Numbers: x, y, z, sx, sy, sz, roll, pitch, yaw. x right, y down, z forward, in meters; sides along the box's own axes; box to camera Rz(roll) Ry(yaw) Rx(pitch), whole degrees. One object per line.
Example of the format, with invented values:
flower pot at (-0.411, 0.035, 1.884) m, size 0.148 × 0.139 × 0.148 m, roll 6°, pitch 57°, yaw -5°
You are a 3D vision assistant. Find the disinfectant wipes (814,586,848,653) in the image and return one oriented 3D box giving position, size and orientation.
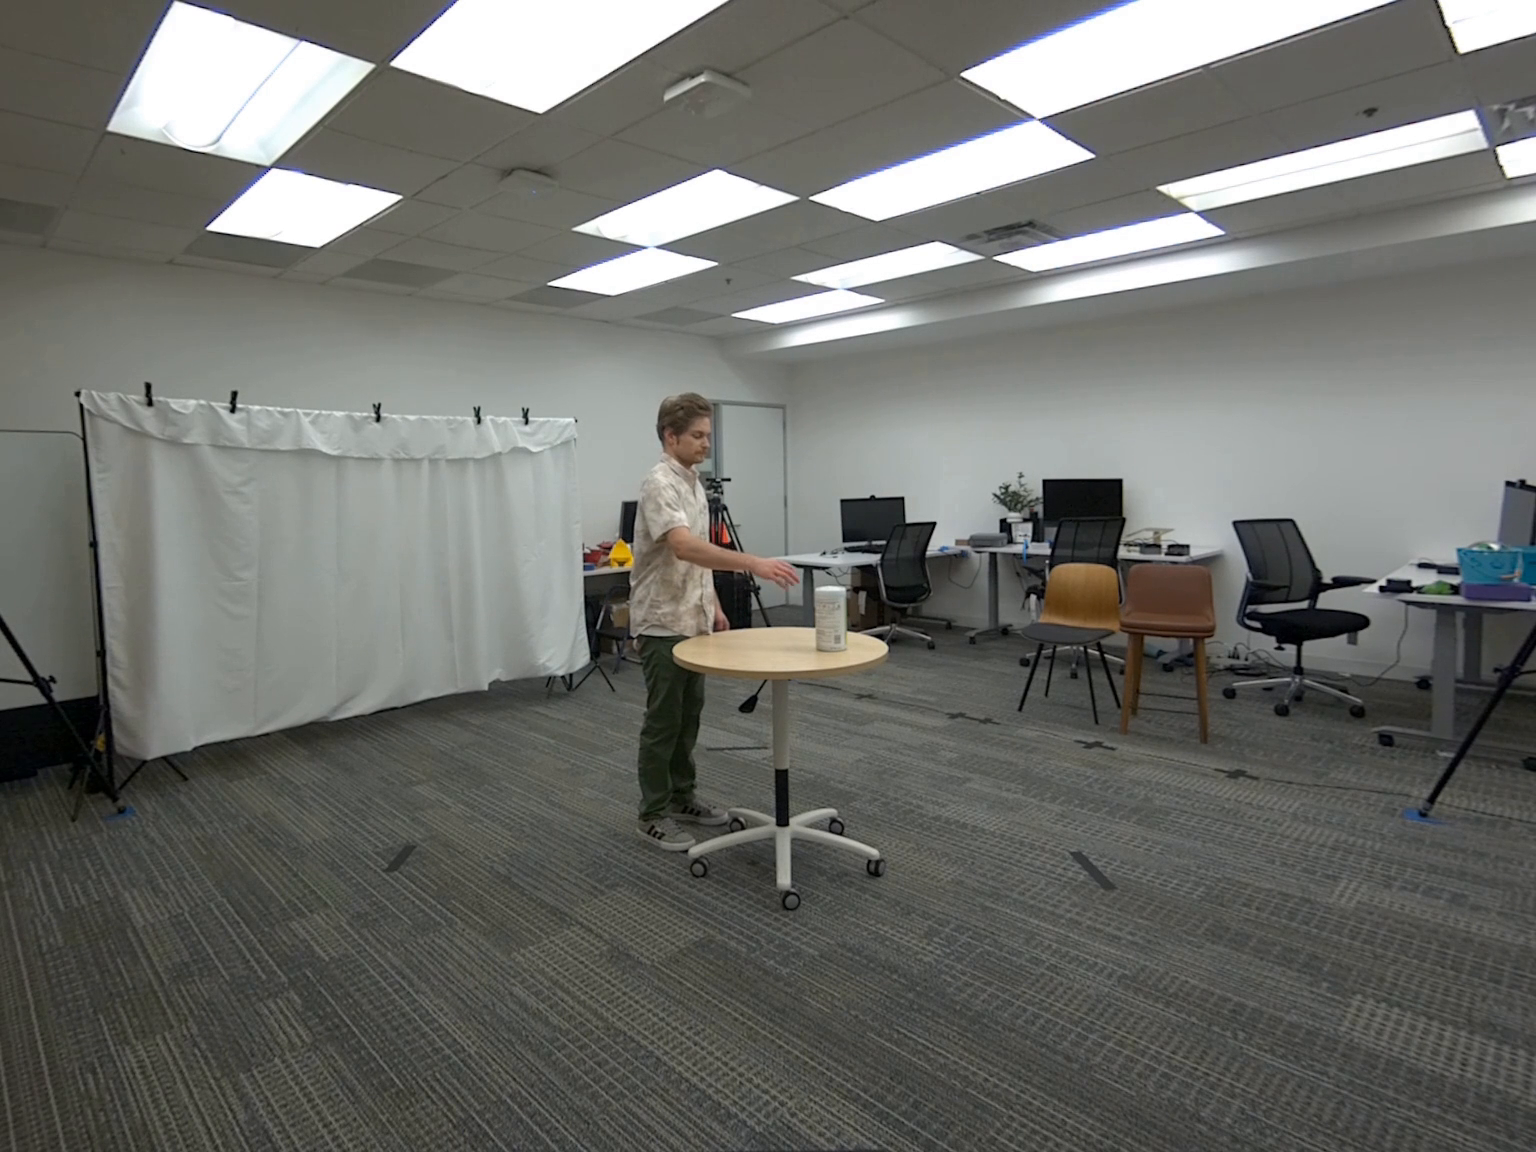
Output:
disinfectant wipes at (0.223, 0.149, 2.988) m, size 0.118 × 0.216 × 0.118 m, roll -2°, pitch 5°, yaw -1°
